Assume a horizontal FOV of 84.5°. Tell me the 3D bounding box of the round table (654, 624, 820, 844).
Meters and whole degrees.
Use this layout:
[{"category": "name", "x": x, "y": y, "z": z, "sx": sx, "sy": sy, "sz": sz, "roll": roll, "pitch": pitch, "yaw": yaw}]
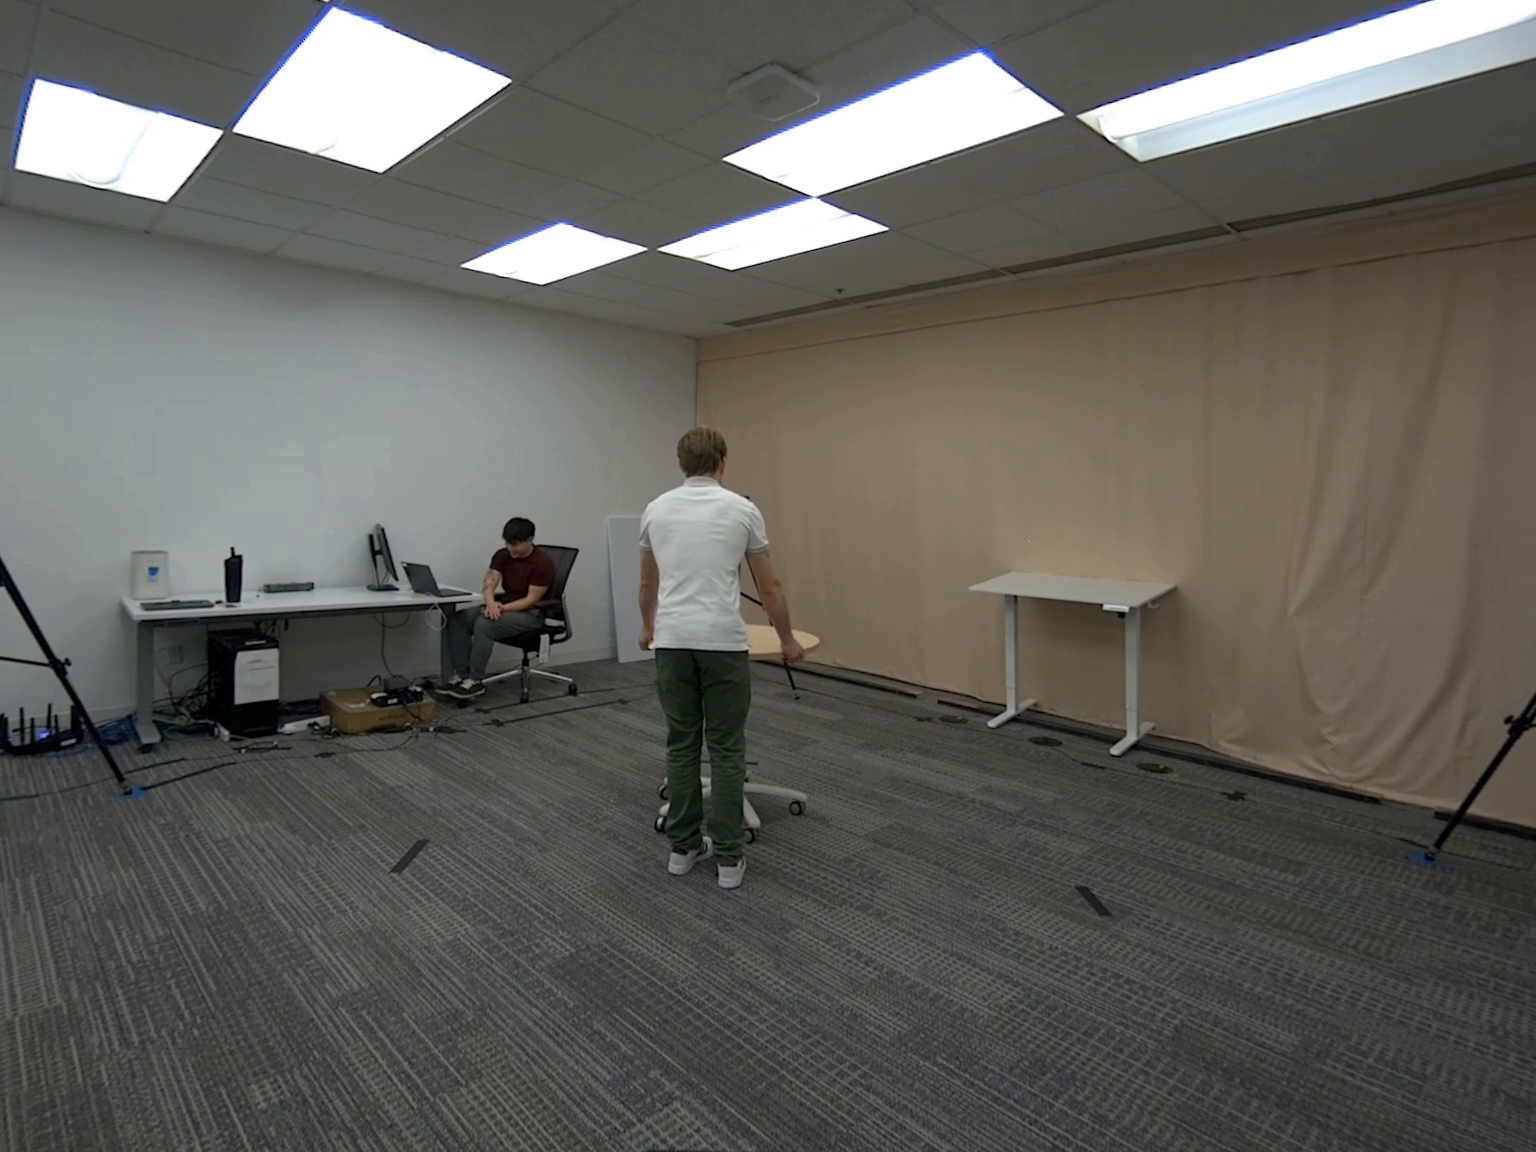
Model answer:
[{"category": "round table", "x": -0.177, "y": 0.665, "z": 3.699, "sx": 0.763, "sy": 0.792, "sz": 0.766, "roll": 1, "pitch": 4, "yaw": -1}]
